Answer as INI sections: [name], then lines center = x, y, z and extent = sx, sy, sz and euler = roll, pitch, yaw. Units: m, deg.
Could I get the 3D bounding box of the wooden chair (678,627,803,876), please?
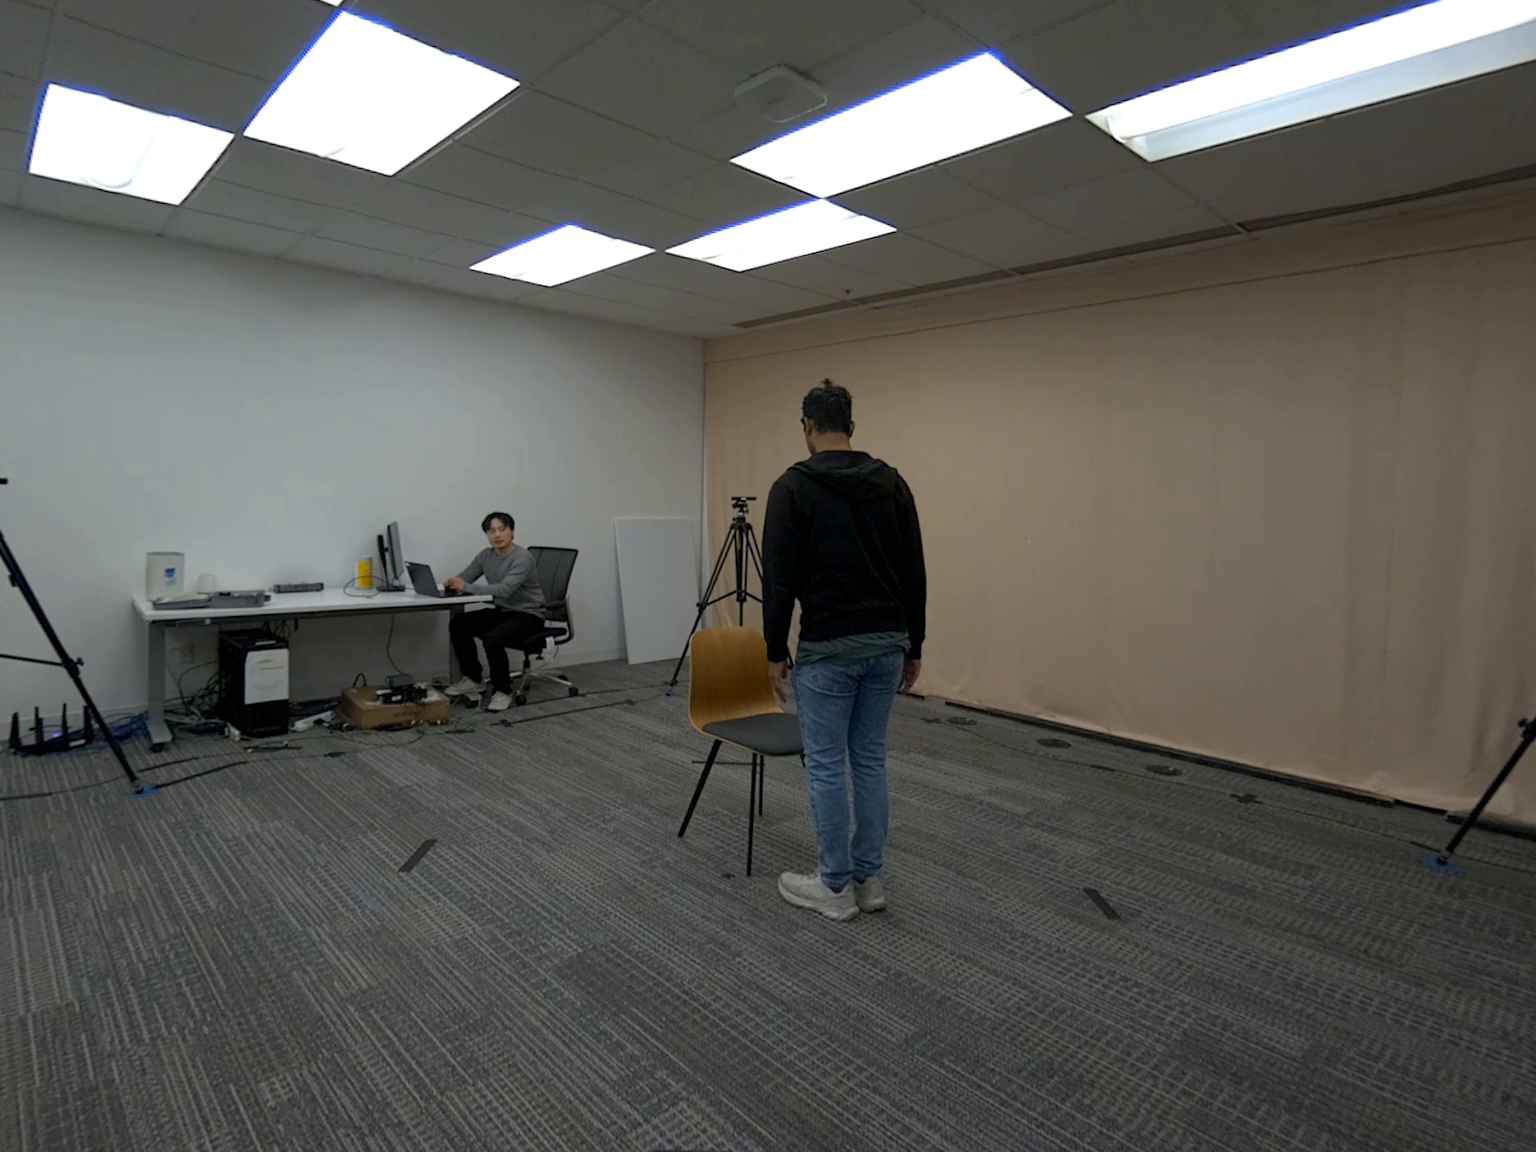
[wooden chair]
center = -0.047, 0.660, 3.383
extent = 0.467, 0.878, 0.535
euler = -1, -1, -40
